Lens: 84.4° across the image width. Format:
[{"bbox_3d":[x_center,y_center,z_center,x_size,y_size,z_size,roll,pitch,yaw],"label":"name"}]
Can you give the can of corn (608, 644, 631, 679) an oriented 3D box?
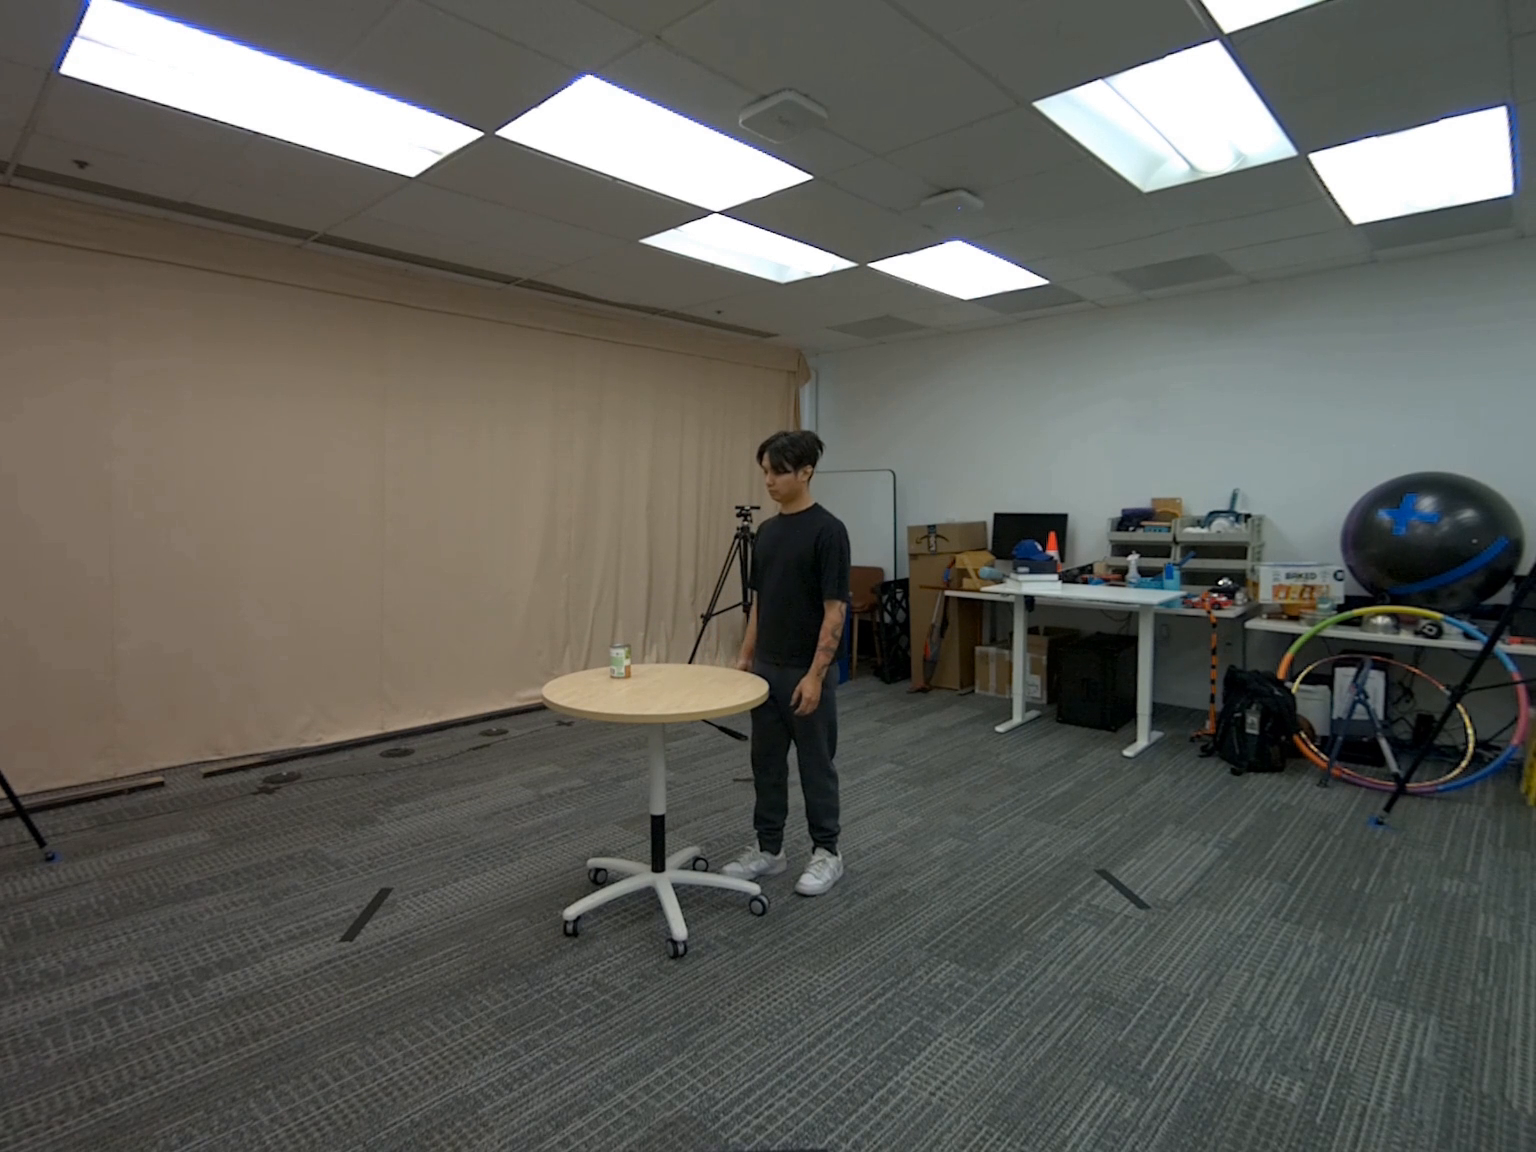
[{"bbox_3d":[-0.528,0.308,3.006,0.074,0.111,0.074,-2,0,-2],"label":"can of corn"}]
